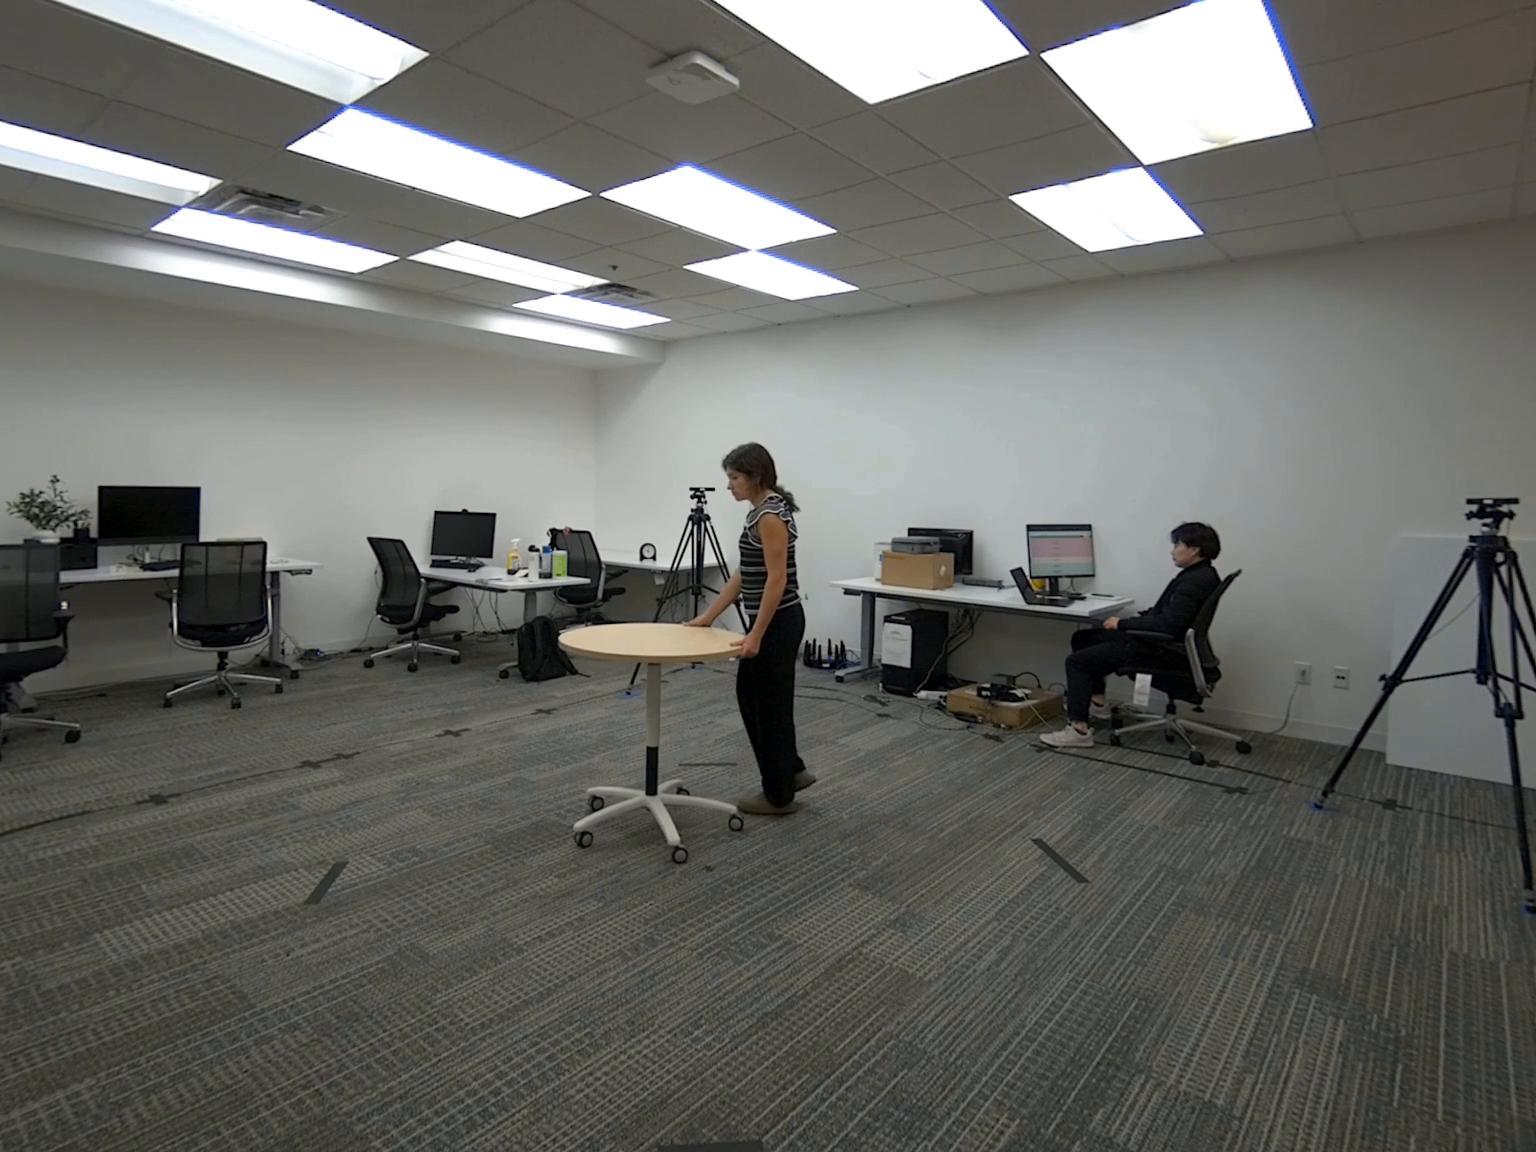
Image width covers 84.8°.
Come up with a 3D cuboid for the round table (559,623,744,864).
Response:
[{"bbox_3d":[-0.480,0.641,3.452,0.763,0.792,0.767,1,4,-2],"label":"round table"}]
